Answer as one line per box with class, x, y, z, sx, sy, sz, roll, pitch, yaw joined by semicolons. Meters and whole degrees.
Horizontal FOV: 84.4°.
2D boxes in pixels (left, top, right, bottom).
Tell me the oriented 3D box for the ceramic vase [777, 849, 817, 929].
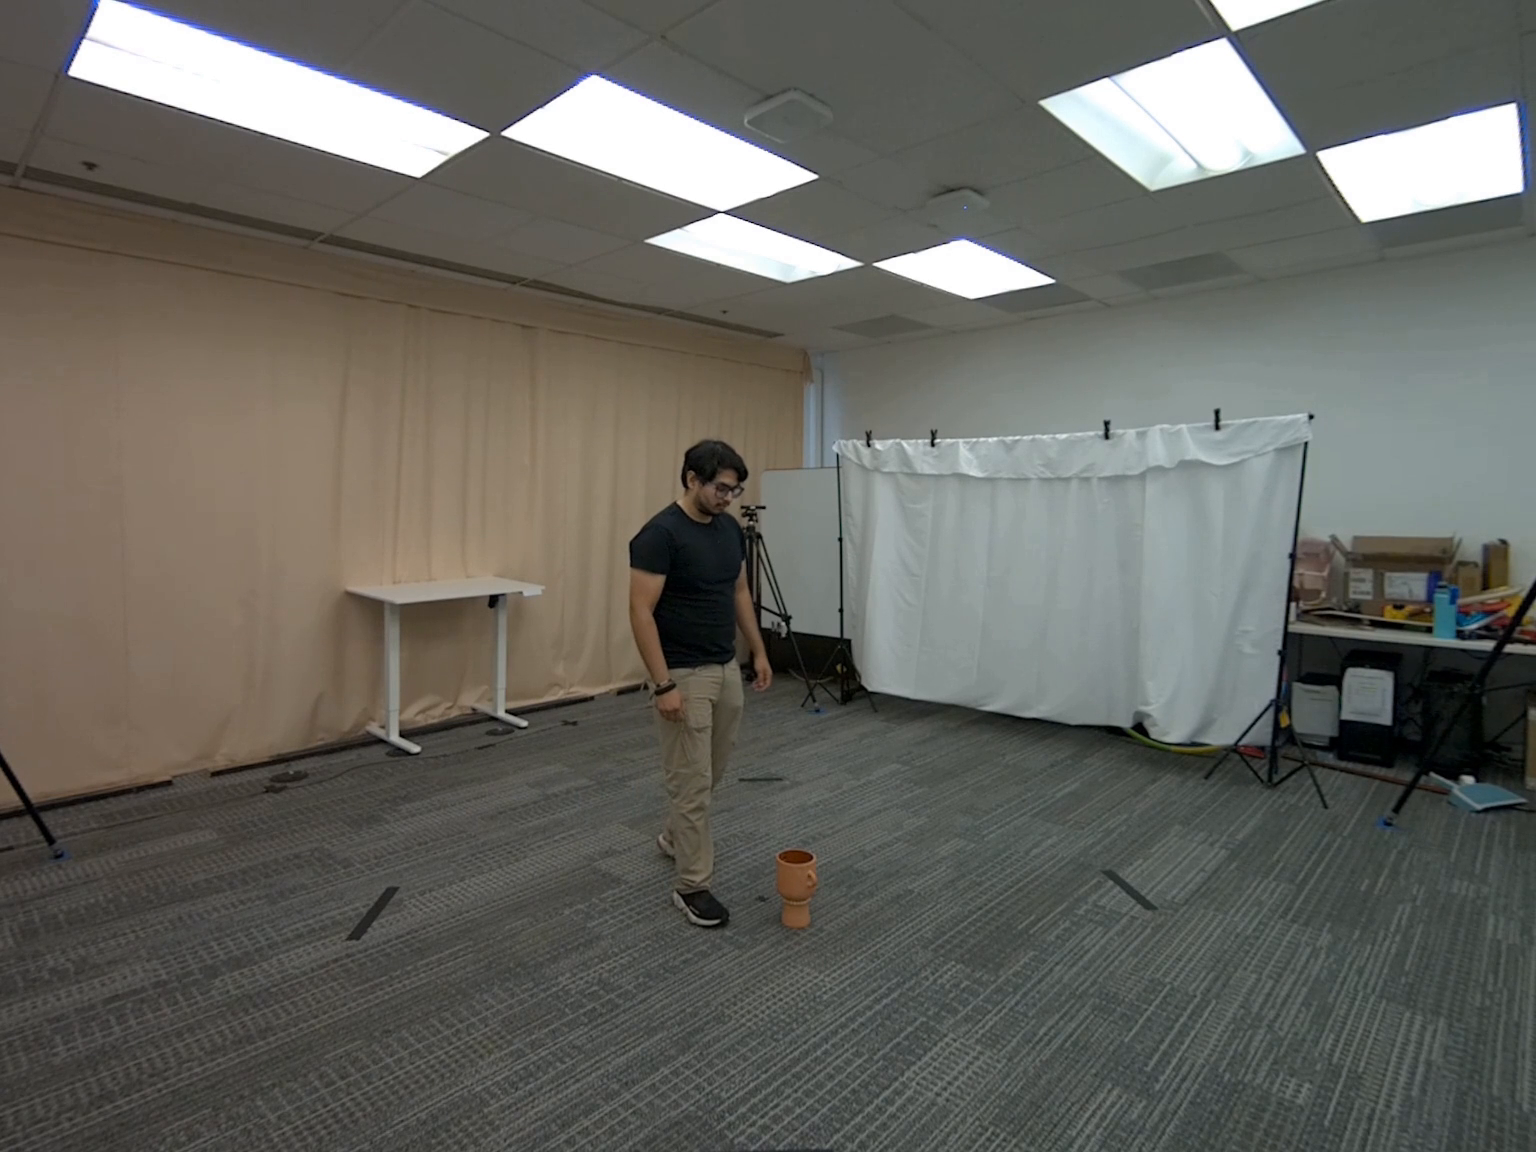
ceramic vase;0.100;1.047;2.808;0.135;0.219;0.159;1;4;1
